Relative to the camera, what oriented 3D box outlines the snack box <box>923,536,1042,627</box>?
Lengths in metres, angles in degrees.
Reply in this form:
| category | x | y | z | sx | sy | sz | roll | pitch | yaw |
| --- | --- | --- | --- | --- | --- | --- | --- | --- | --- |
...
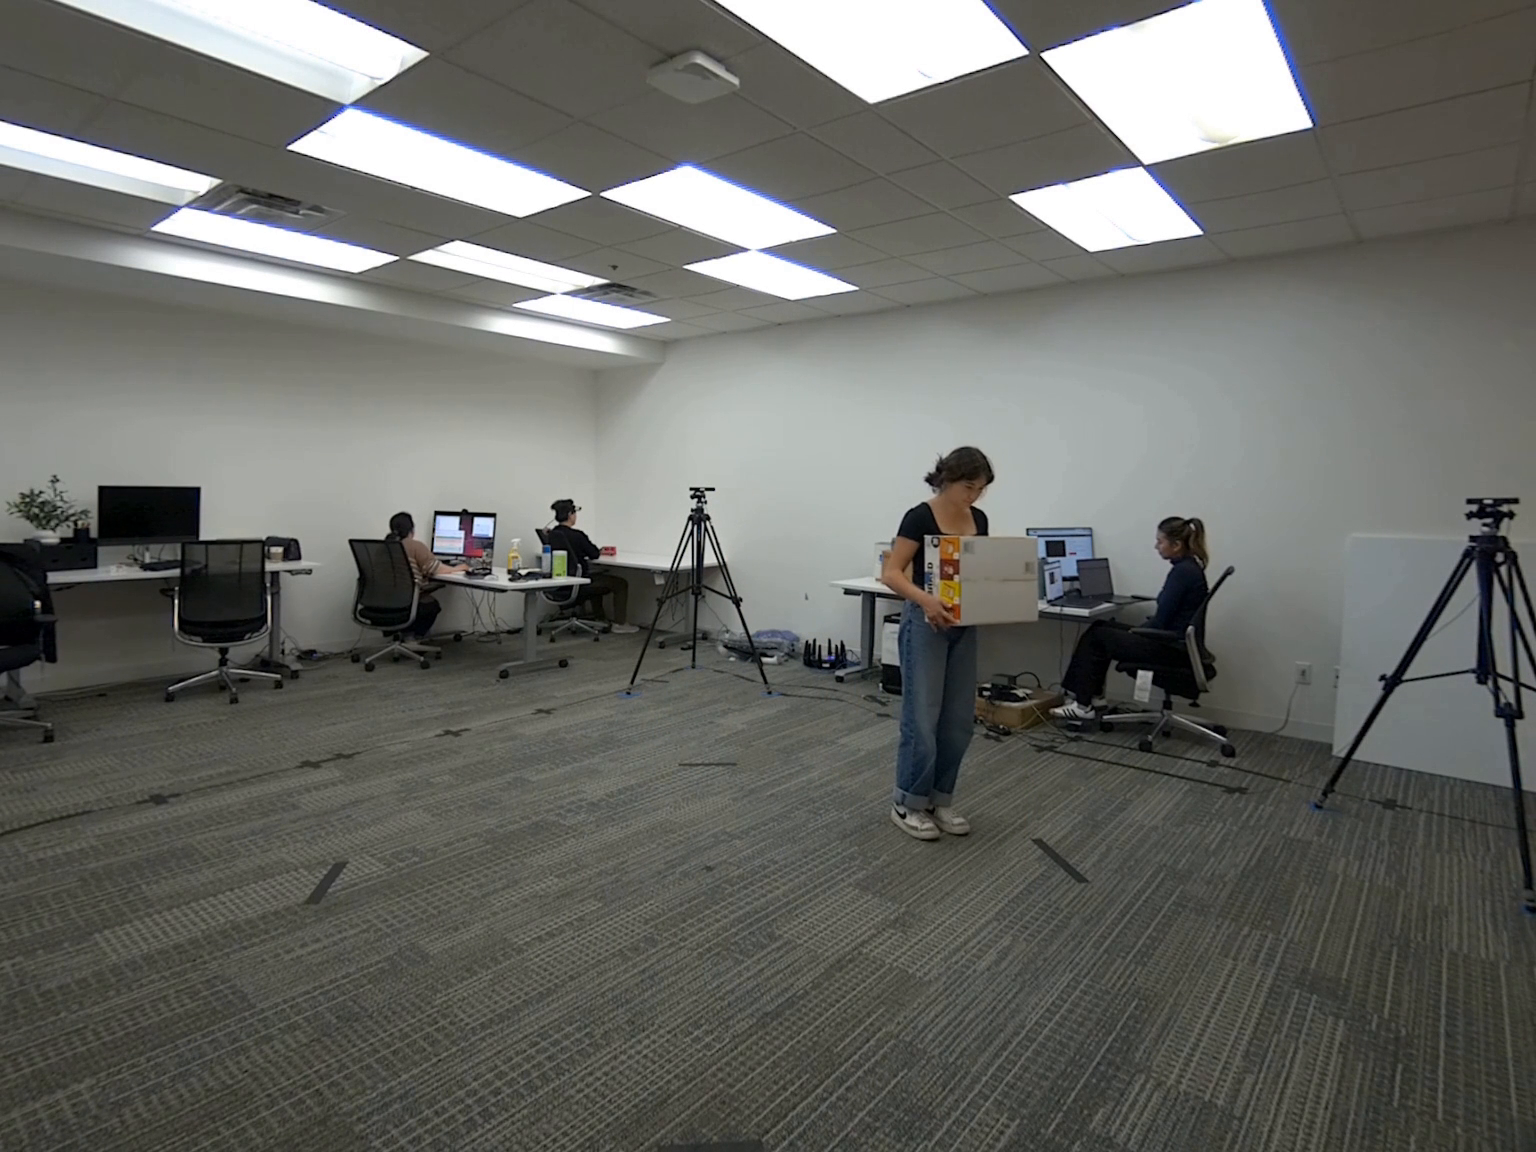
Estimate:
| category | x | y | z | sx | sy | sz | roll | pitch | yaw |
| --- | --- | --- | --- | --- | --- | --- | --- | --- | --- |
| snack box | 0.838 | 0.007 | 3.355 | 0.396 | 0.340 | 0.211 | -1 | 2 | -25 |
